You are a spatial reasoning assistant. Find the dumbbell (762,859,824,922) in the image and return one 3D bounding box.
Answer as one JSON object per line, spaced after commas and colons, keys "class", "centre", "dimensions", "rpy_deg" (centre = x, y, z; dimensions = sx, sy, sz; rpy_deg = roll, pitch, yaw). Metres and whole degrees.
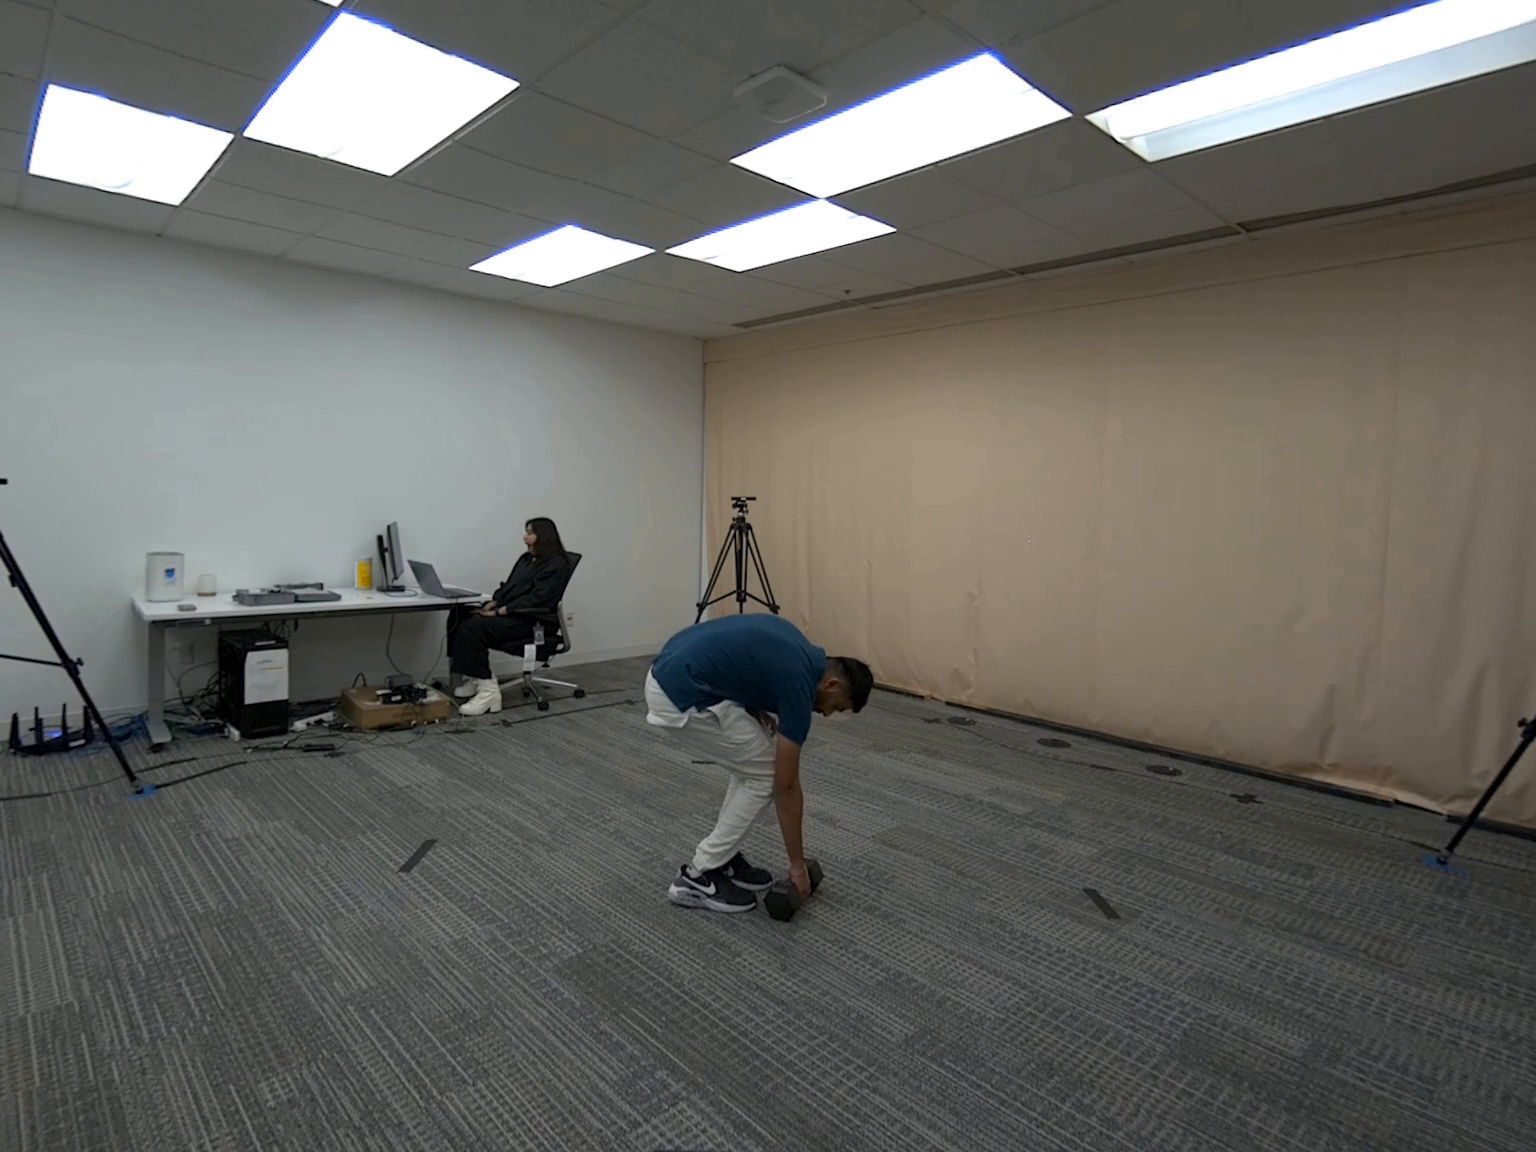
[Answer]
{"class": "dumbbell", "centre": [0.085, 1.080, 2.897], "dimensions": [0.111, 0.122, 0.289], "rpy_deg": [35, 16, 17]}
